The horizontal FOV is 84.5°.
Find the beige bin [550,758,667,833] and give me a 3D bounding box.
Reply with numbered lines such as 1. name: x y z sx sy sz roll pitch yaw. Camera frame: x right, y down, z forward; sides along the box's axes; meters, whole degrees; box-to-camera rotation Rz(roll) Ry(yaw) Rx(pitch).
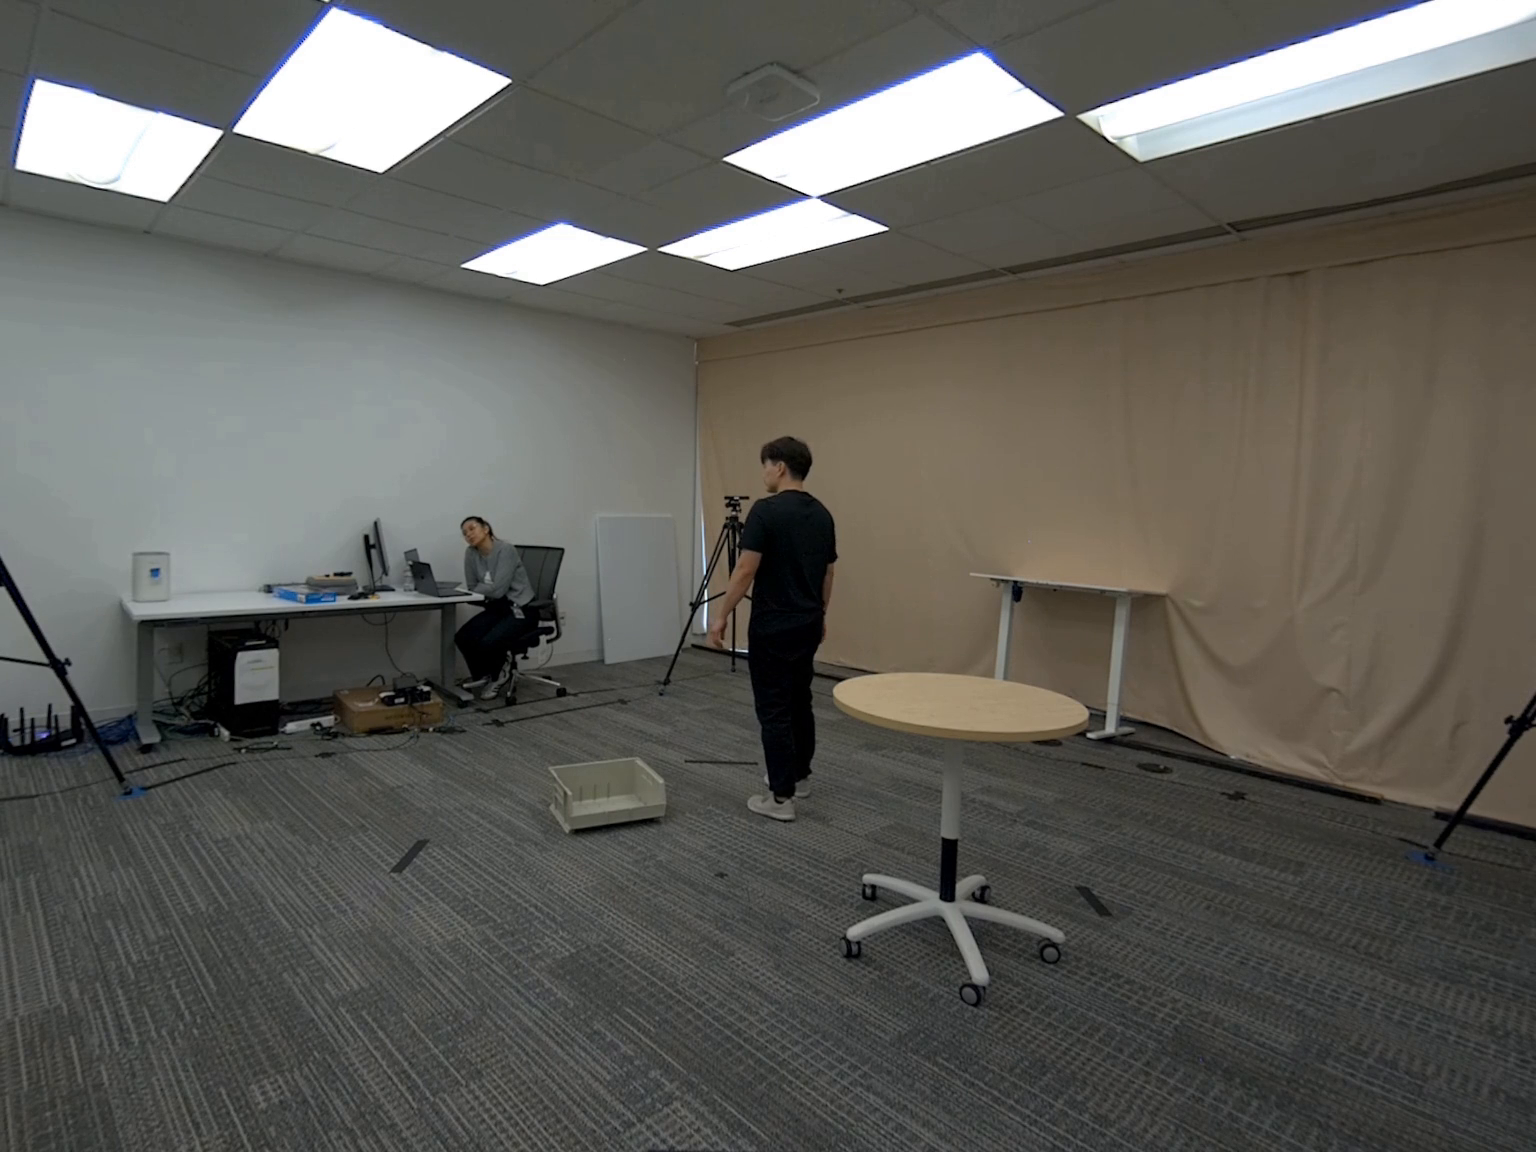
1. beige bin: -0.713 0.953 3.657 0.414 0.188 0.385 -1 5 -27
